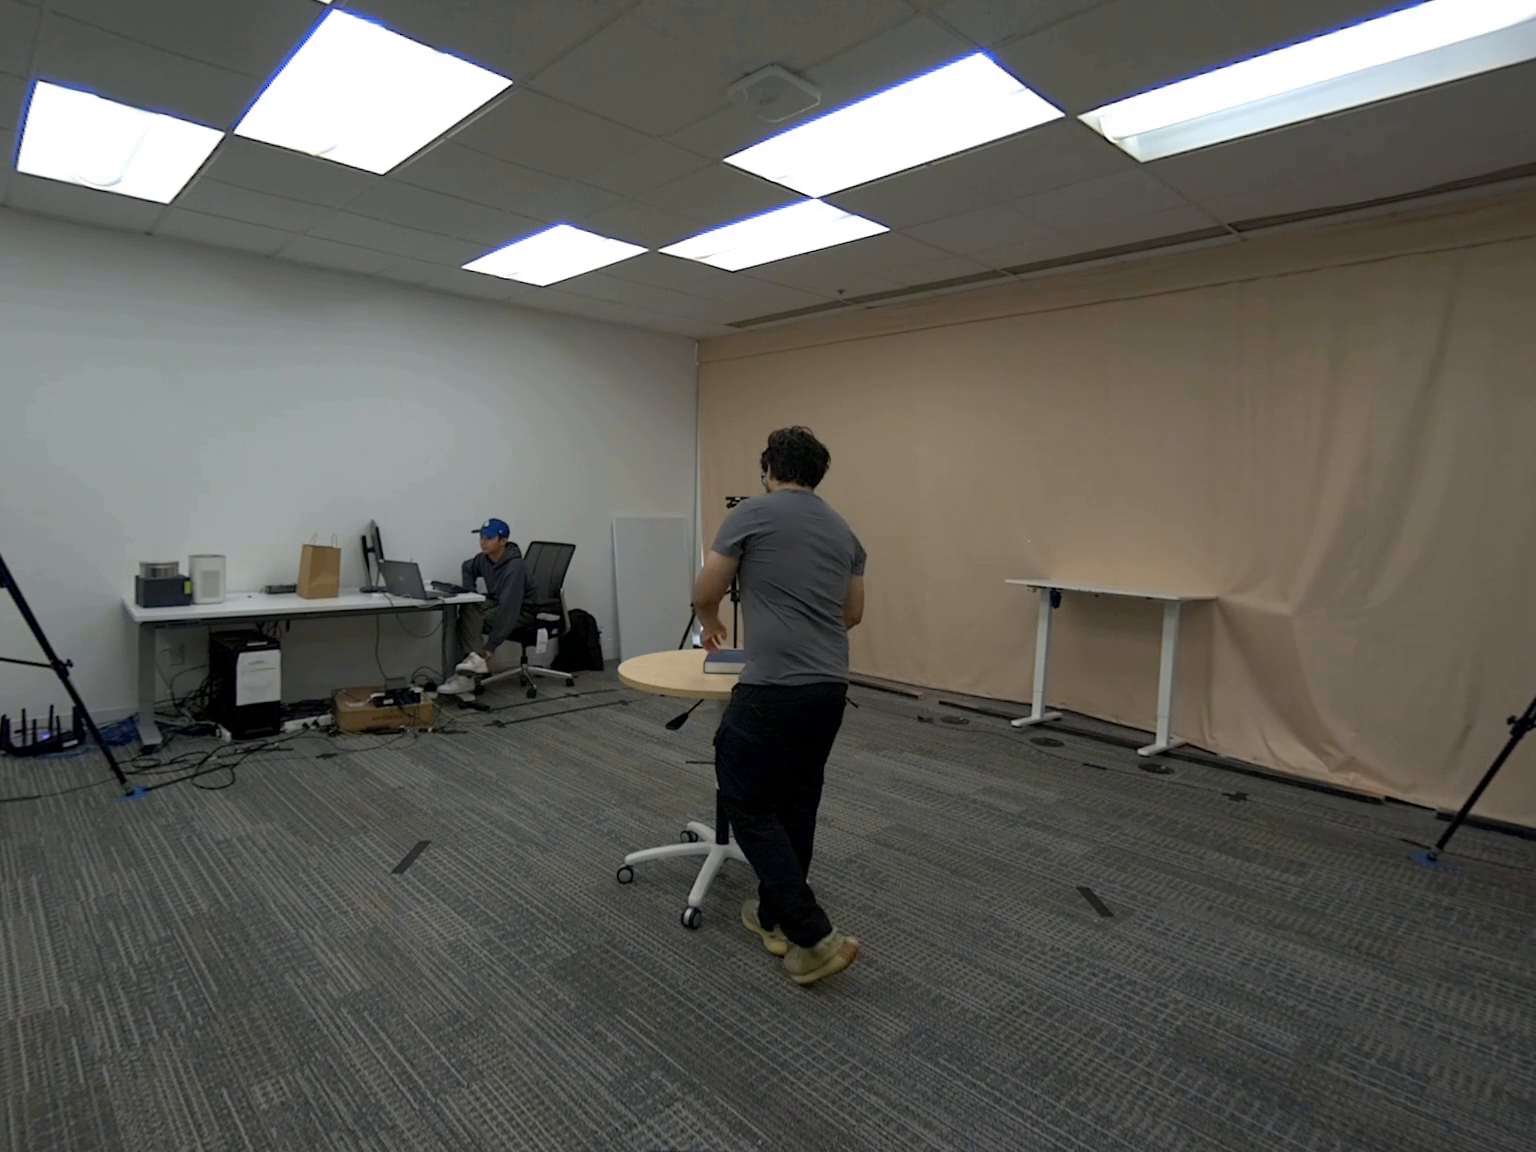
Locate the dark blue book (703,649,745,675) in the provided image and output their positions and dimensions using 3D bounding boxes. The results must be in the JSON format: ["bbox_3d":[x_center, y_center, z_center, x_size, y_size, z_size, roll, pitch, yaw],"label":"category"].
[{"bbox_3d":[-0.153,0.310,3.031,0.164,0.045,0.245,1,5,1],"label":"dark blue book"}]
